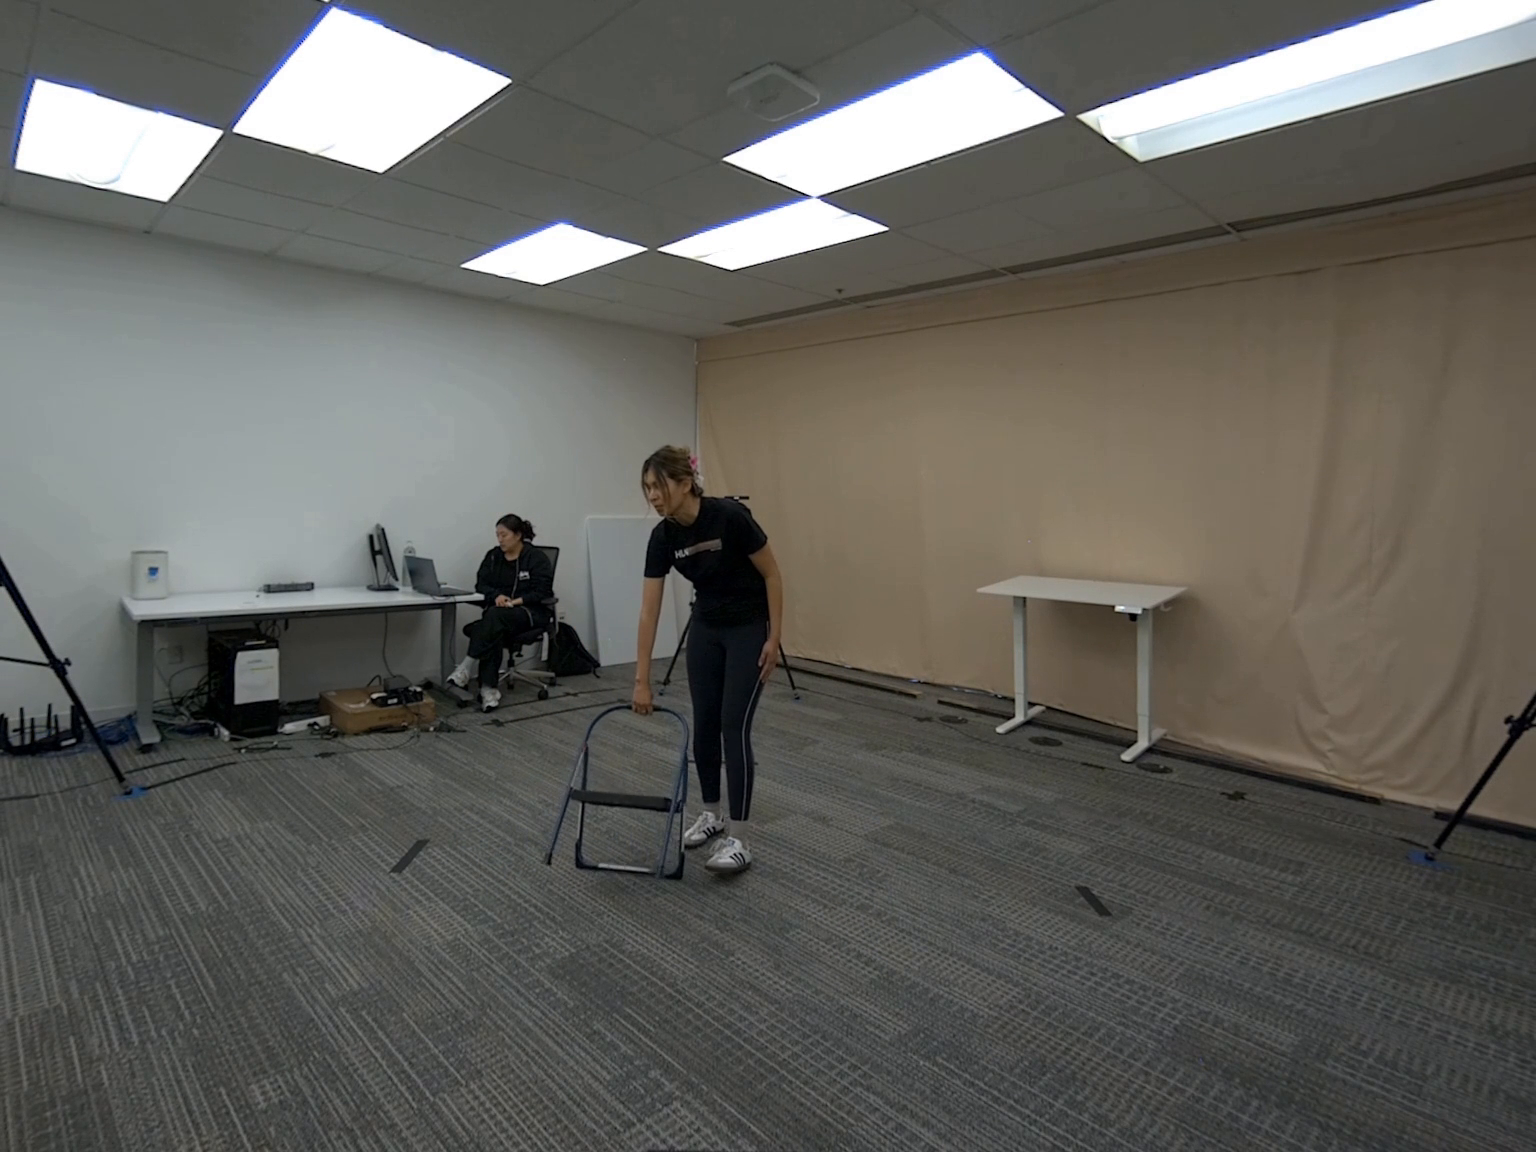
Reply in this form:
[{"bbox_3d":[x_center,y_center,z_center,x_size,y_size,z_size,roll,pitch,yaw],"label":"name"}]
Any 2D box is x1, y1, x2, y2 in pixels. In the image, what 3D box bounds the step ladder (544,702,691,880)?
[{"bbox_3d":[-0.520,0.764,3.060,0.434,0.614,0.342,2,-21,9],"label":"step ladder"}]
